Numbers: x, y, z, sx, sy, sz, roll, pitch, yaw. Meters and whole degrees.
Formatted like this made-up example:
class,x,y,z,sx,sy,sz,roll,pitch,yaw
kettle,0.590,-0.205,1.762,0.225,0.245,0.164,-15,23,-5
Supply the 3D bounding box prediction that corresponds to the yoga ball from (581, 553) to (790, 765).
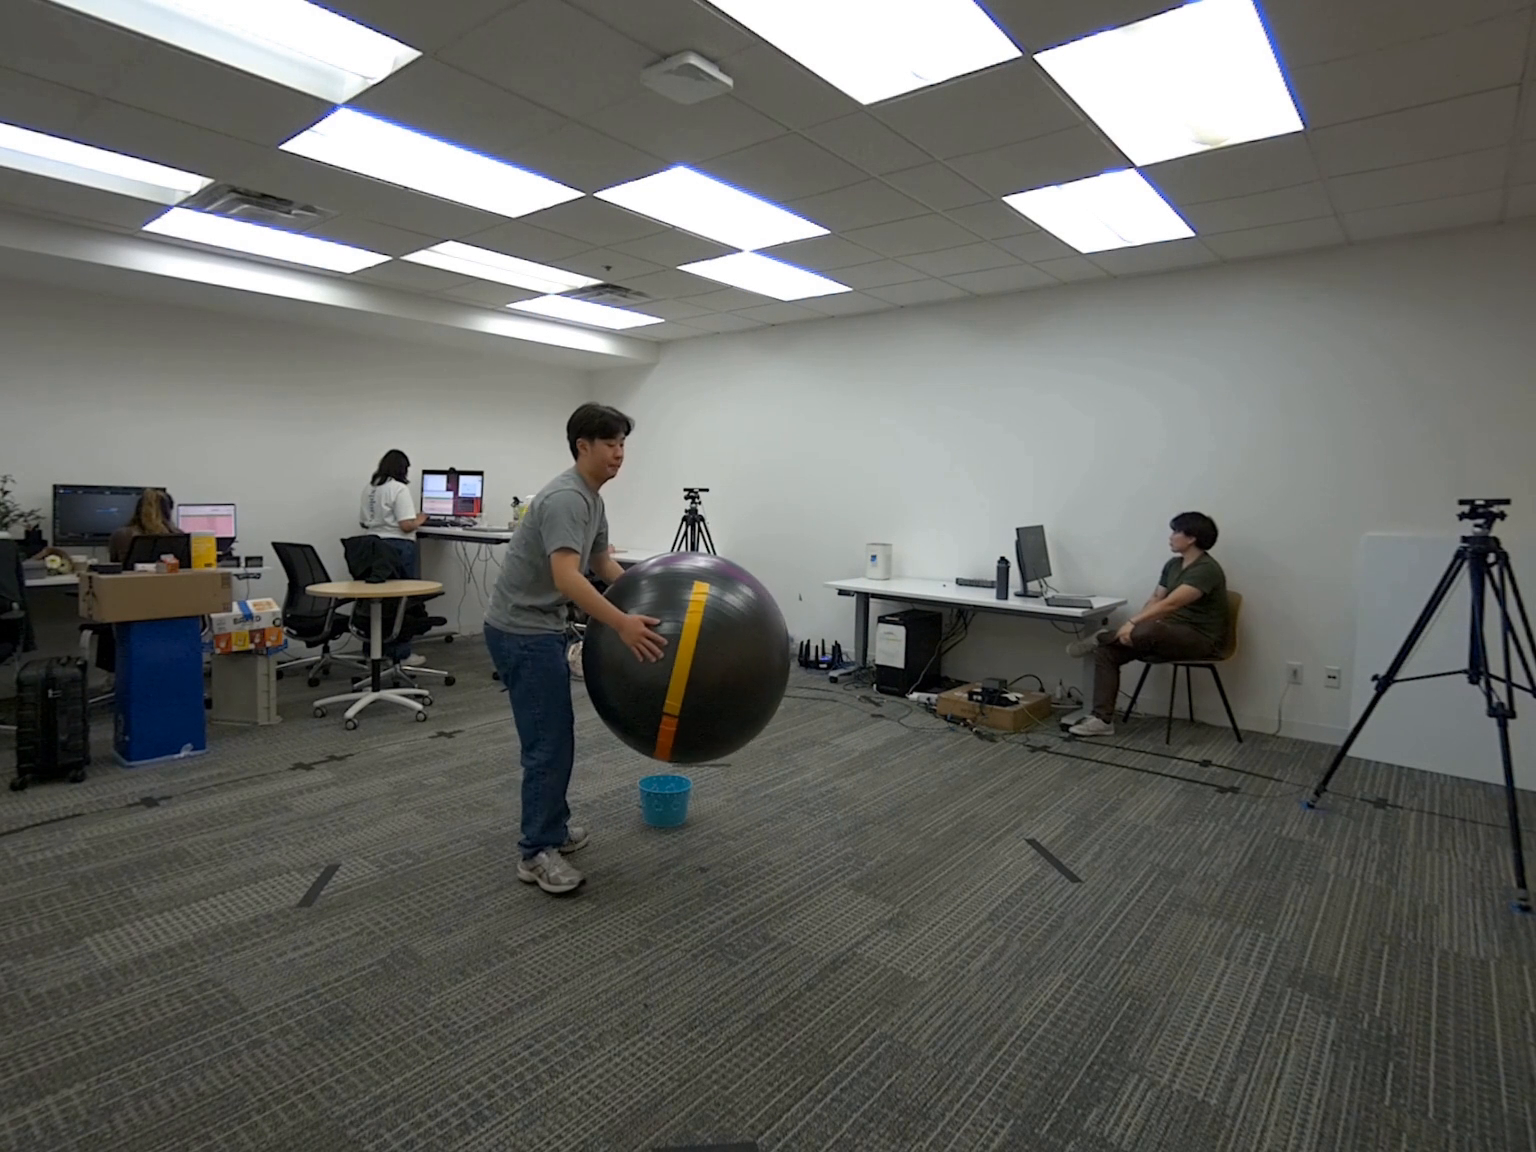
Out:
class,x,y,z,sx,sy,sz,roll,pitch,yaw
yoga ball,-0.313,0.303,3.093,0.757,0.755,0.762,1,4,-2
